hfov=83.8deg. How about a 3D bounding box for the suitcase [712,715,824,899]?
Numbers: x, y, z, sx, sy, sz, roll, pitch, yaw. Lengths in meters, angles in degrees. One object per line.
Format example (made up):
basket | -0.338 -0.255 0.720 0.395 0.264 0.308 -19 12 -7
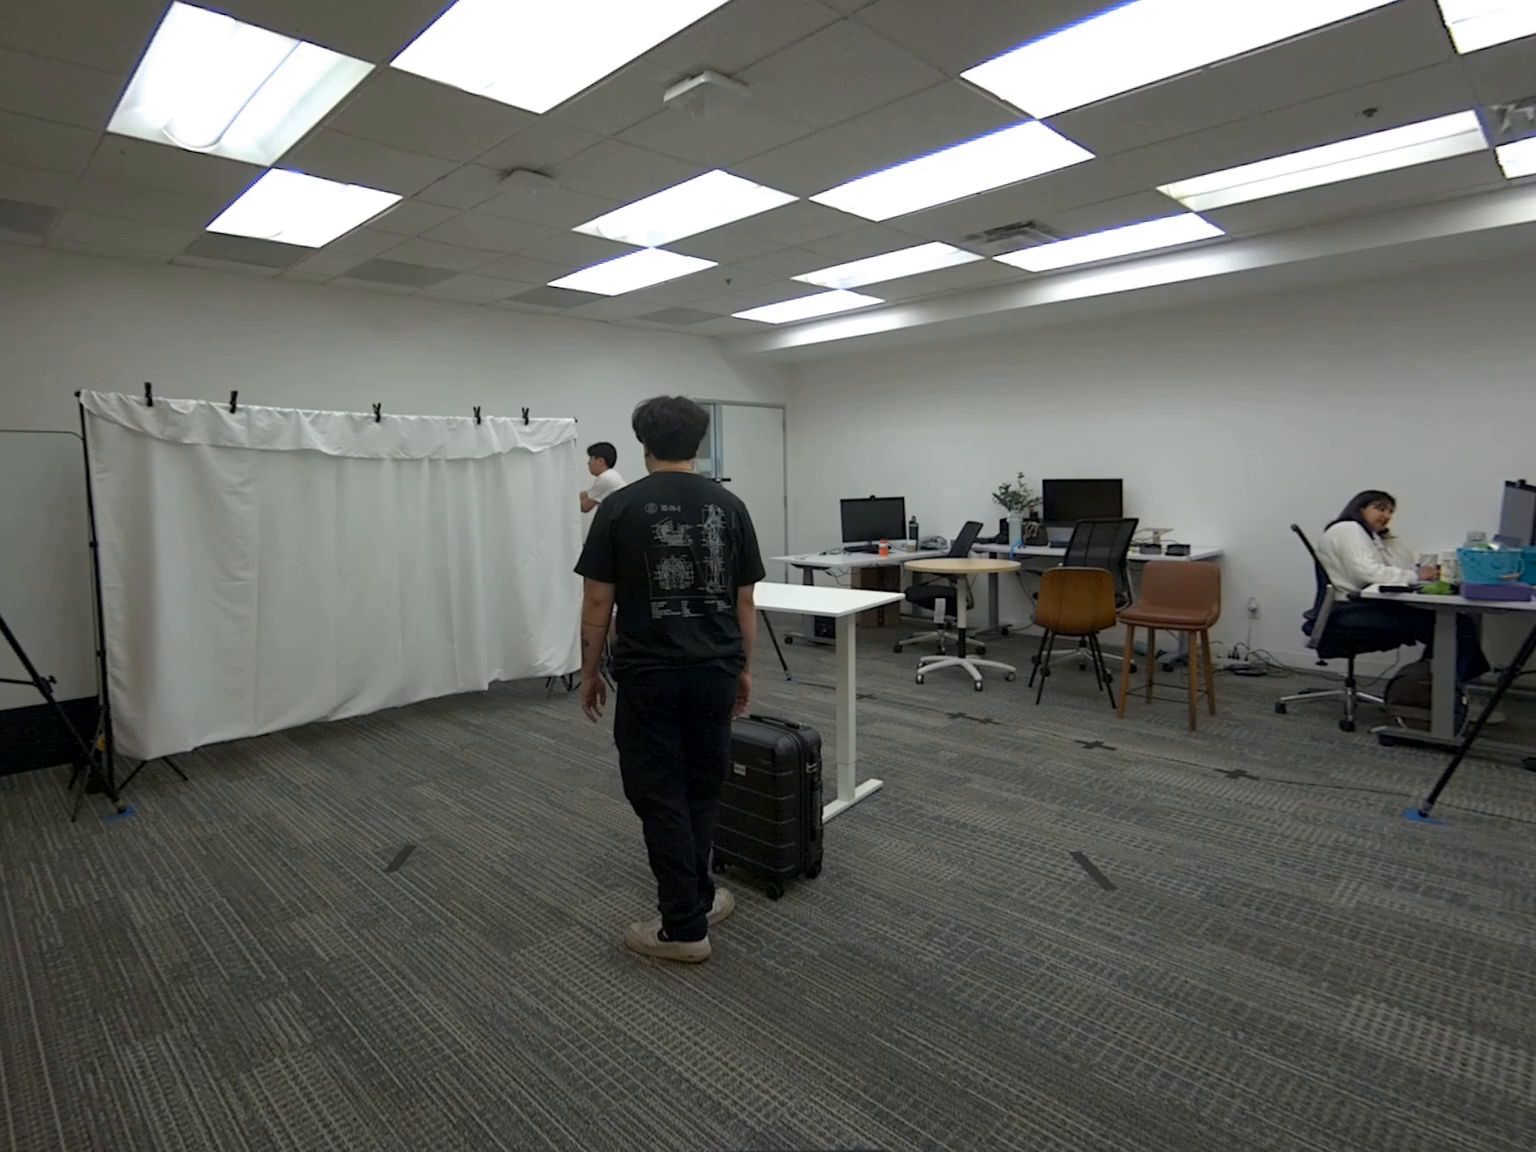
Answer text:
suitcase | -0.001 0.782 2.990 0.387 0.547 0.242 4 6 43
